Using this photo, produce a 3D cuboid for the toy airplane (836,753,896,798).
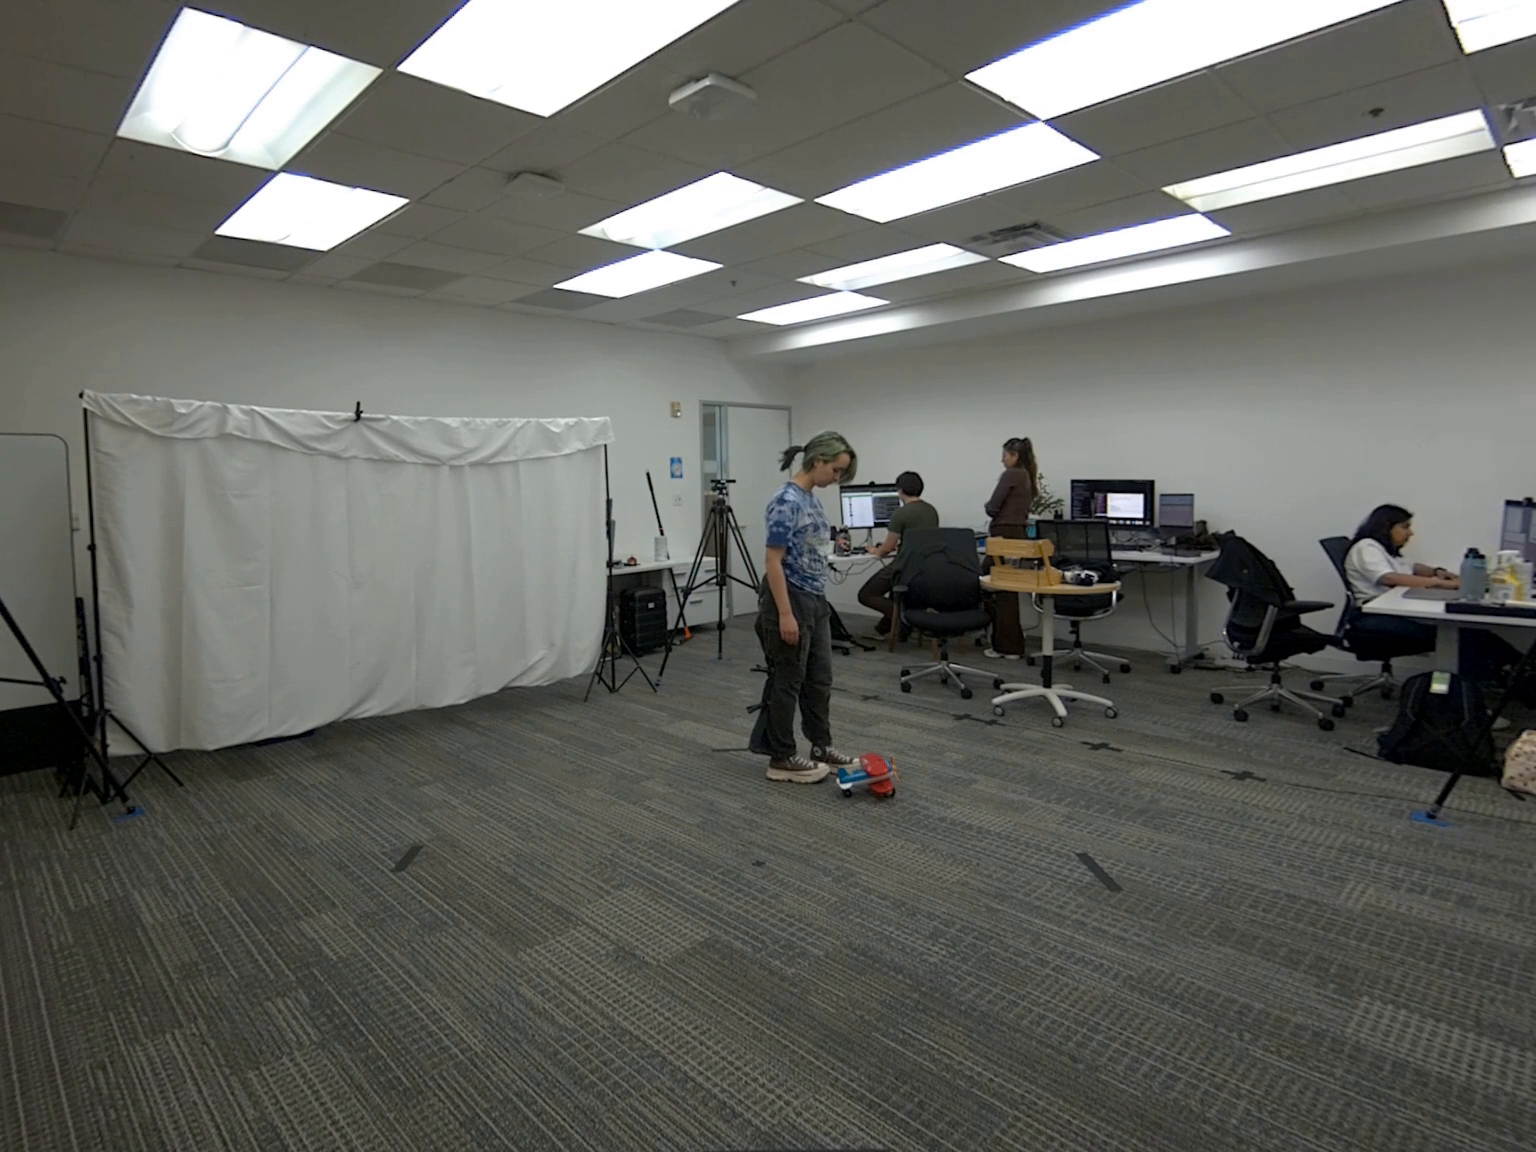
[{"bbox_3d":[0.446,0.890,3.749,0.253,0.156,0.258,-4,6,-35],"label":"toy airplane"}]
